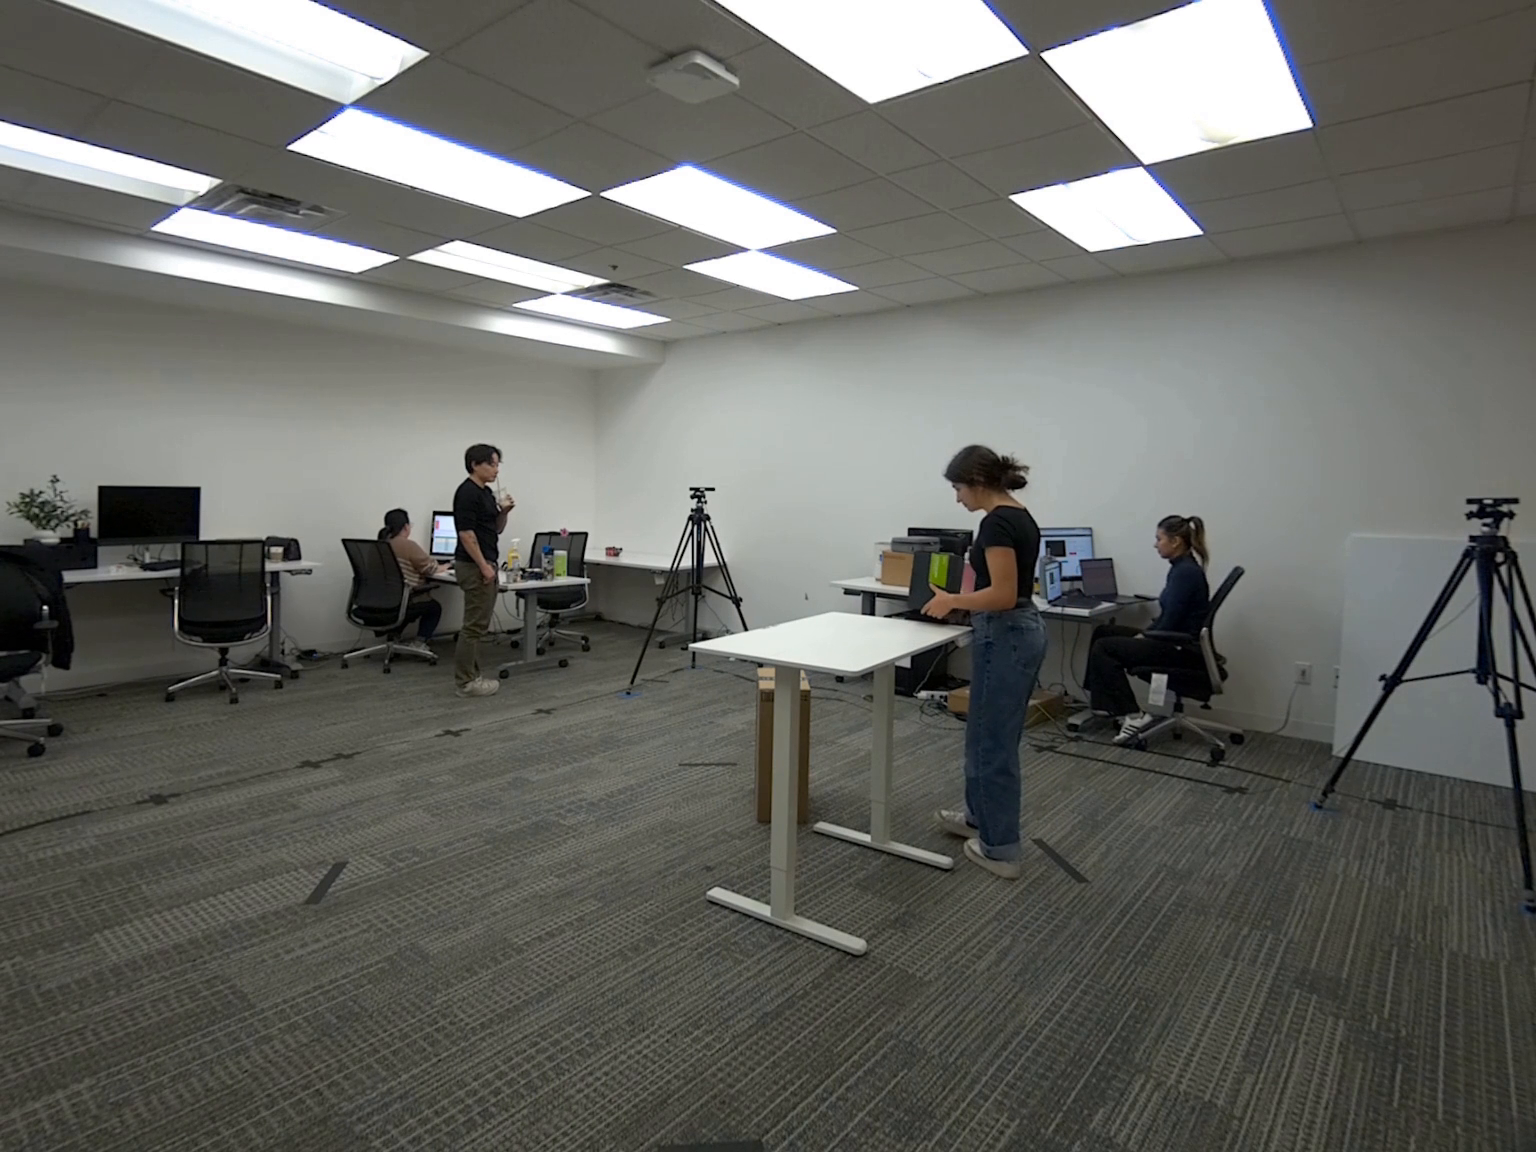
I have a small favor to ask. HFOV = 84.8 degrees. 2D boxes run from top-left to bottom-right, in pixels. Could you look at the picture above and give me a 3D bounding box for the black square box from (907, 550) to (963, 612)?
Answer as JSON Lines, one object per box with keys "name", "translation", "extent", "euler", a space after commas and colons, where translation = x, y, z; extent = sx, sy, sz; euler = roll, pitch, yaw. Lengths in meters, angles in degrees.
{"name": "black square box", "translation": [0.656, 0.012, 3.357], "extent": [0.160, 0.227, 0.212], "euler": [7, 5, 23]}
